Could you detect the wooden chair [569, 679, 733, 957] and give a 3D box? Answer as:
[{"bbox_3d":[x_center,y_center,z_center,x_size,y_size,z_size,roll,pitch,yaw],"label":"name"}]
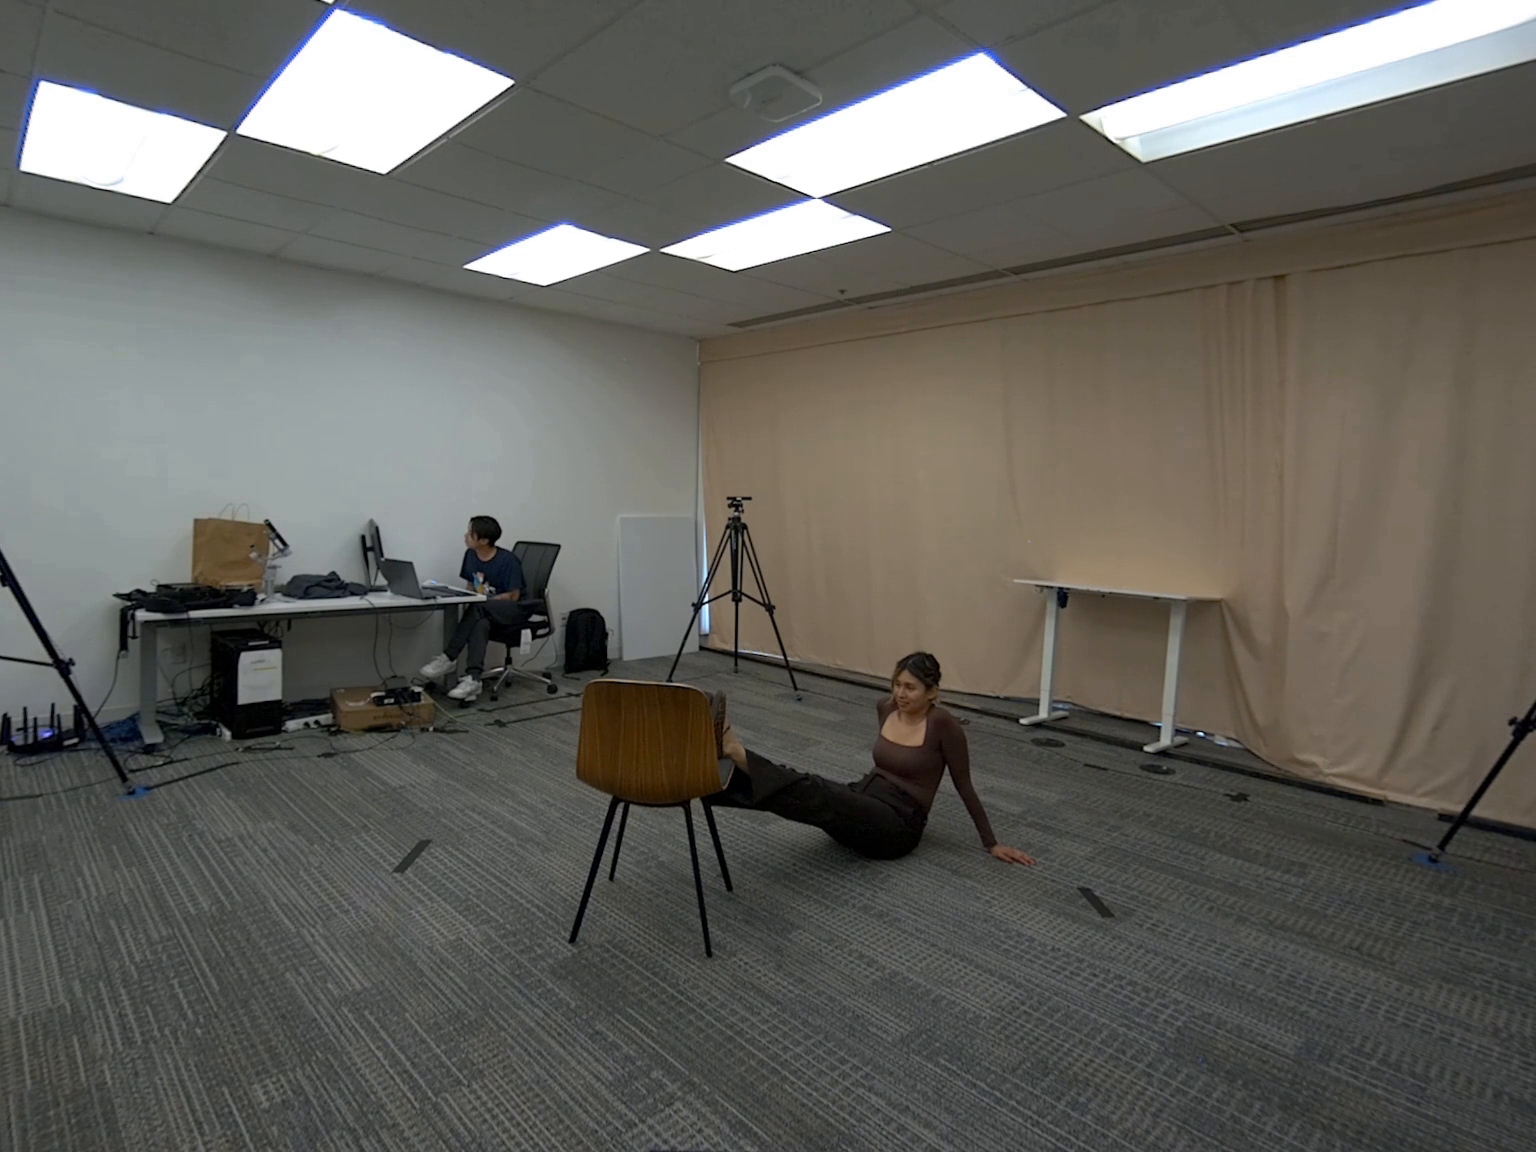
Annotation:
[{"bbox_3d":[-0.363,0.705,2.771,0.481,0.873,0.522,2,7,7],"label":"wooden chair"}]
